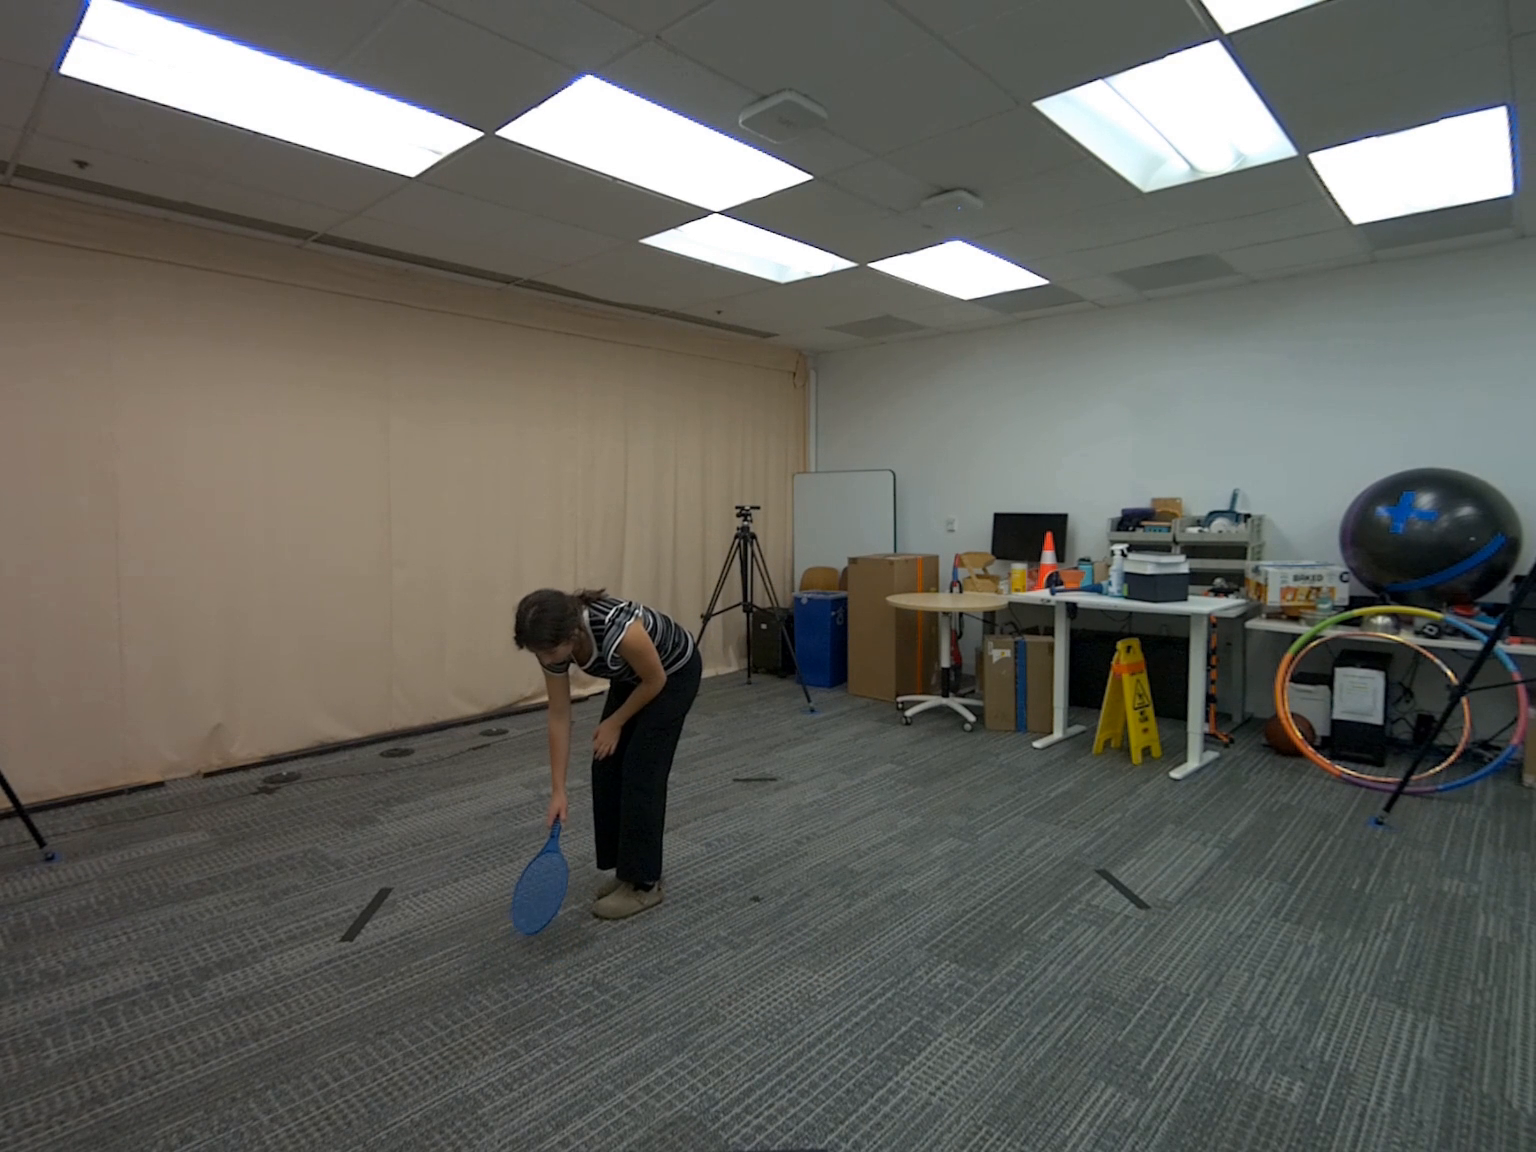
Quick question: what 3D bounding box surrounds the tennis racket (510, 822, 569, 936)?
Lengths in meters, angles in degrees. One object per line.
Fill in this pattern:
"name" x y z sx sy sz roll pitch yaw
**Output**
"tennis racket" -0.703 0.944 2.769 0.218 0.439 0.031 -16 -45 22
